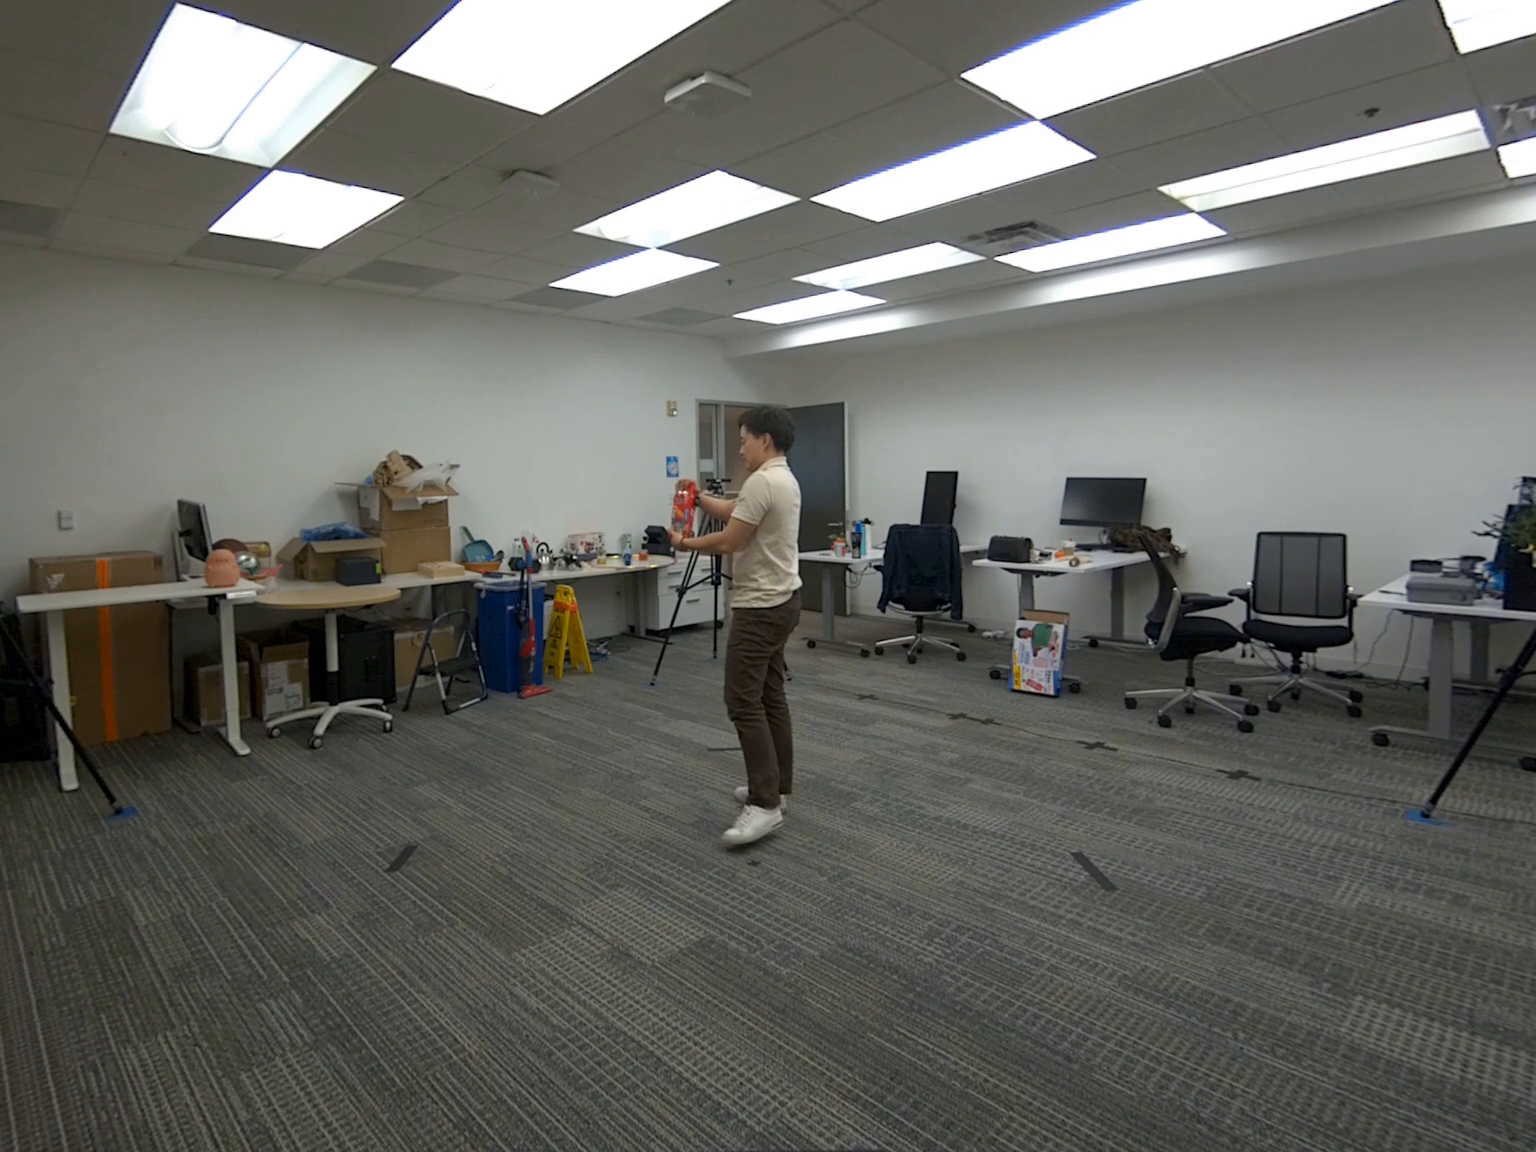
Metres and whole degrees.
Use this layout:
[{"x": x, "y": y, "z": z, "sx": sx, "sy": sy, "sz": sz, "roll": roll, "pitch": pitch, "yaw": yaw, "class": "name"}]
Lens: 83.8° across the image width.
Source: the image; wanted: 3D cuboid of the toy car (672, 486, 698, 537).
[{"x": -0.360, "y": -0.276, "z": 3.654, "sx": 0.134, "sy": 0.253, "sz": 0.081, "roll": 3, "pitch": 5, "yaw": 36, "class": "toy car"}]
